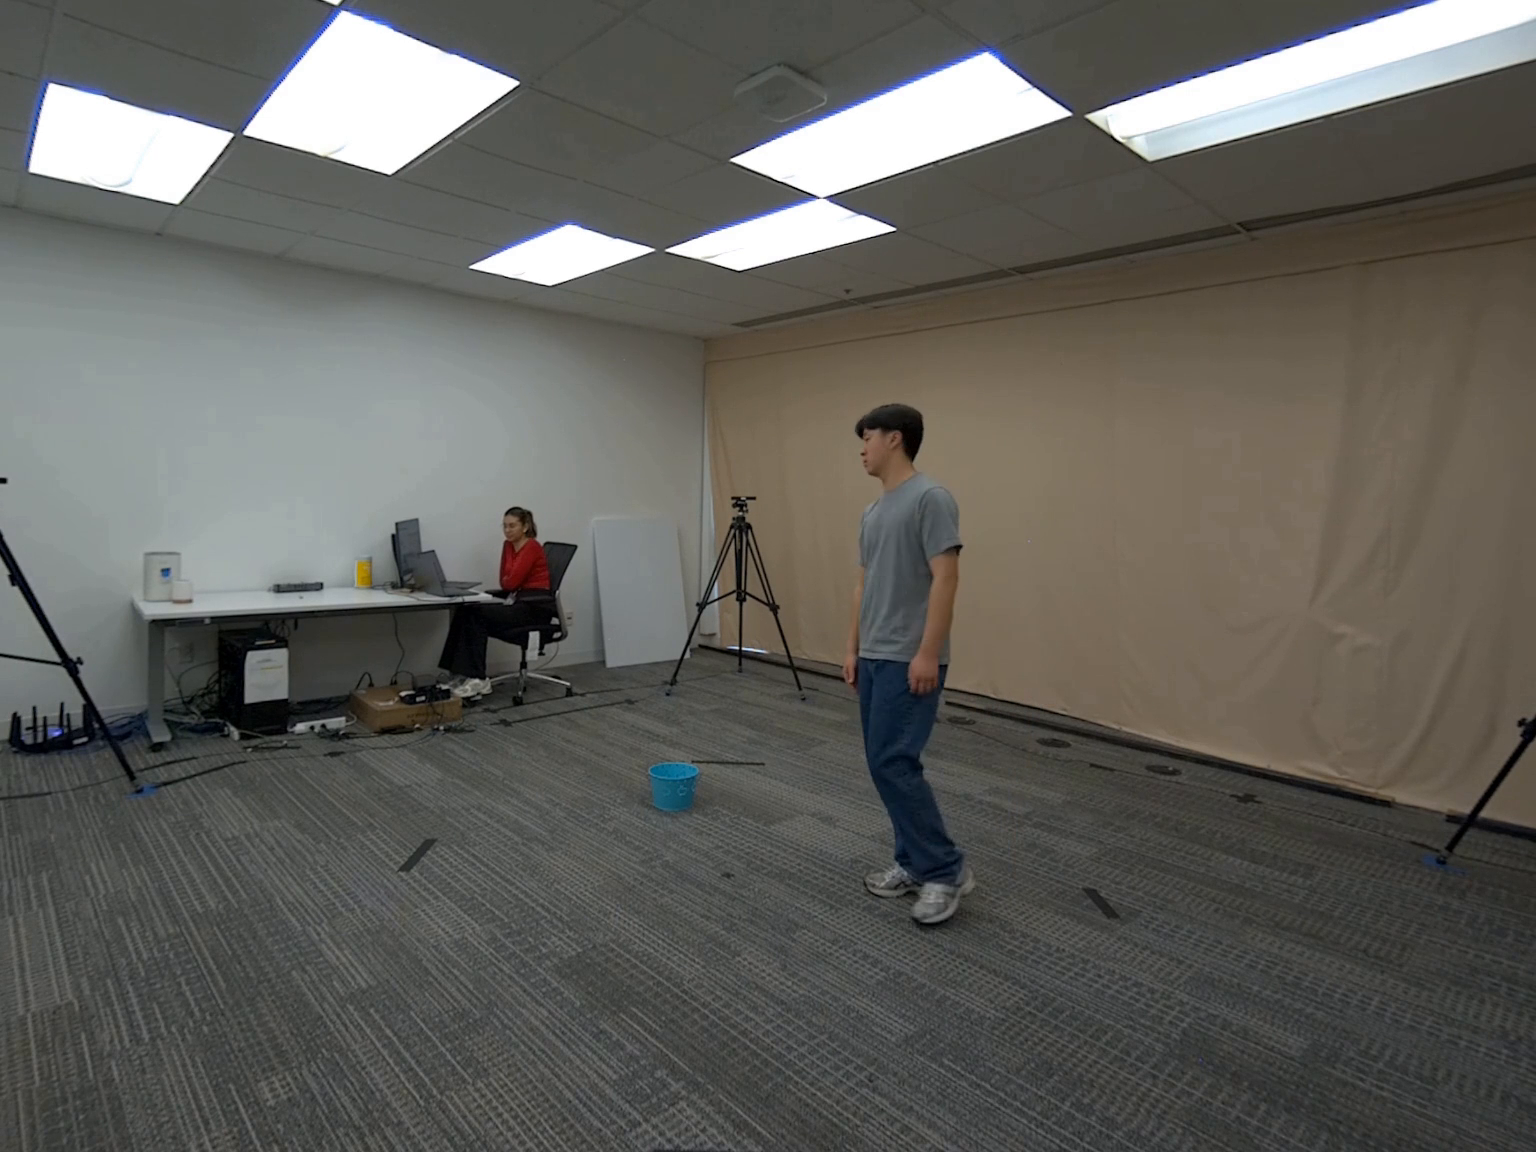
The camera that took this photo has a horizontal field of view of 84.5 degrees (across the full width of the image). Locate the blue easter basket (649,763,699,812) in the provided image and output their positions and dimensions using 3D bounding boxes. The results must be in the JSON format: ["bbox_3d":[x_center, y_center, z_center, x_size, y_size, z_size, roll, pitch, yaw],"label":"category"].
[{"bbox_3d":[-0.436,0.958,3.832,0.243,0.155,0.244,1,5,-1],"label":"blue easter basket"}]
